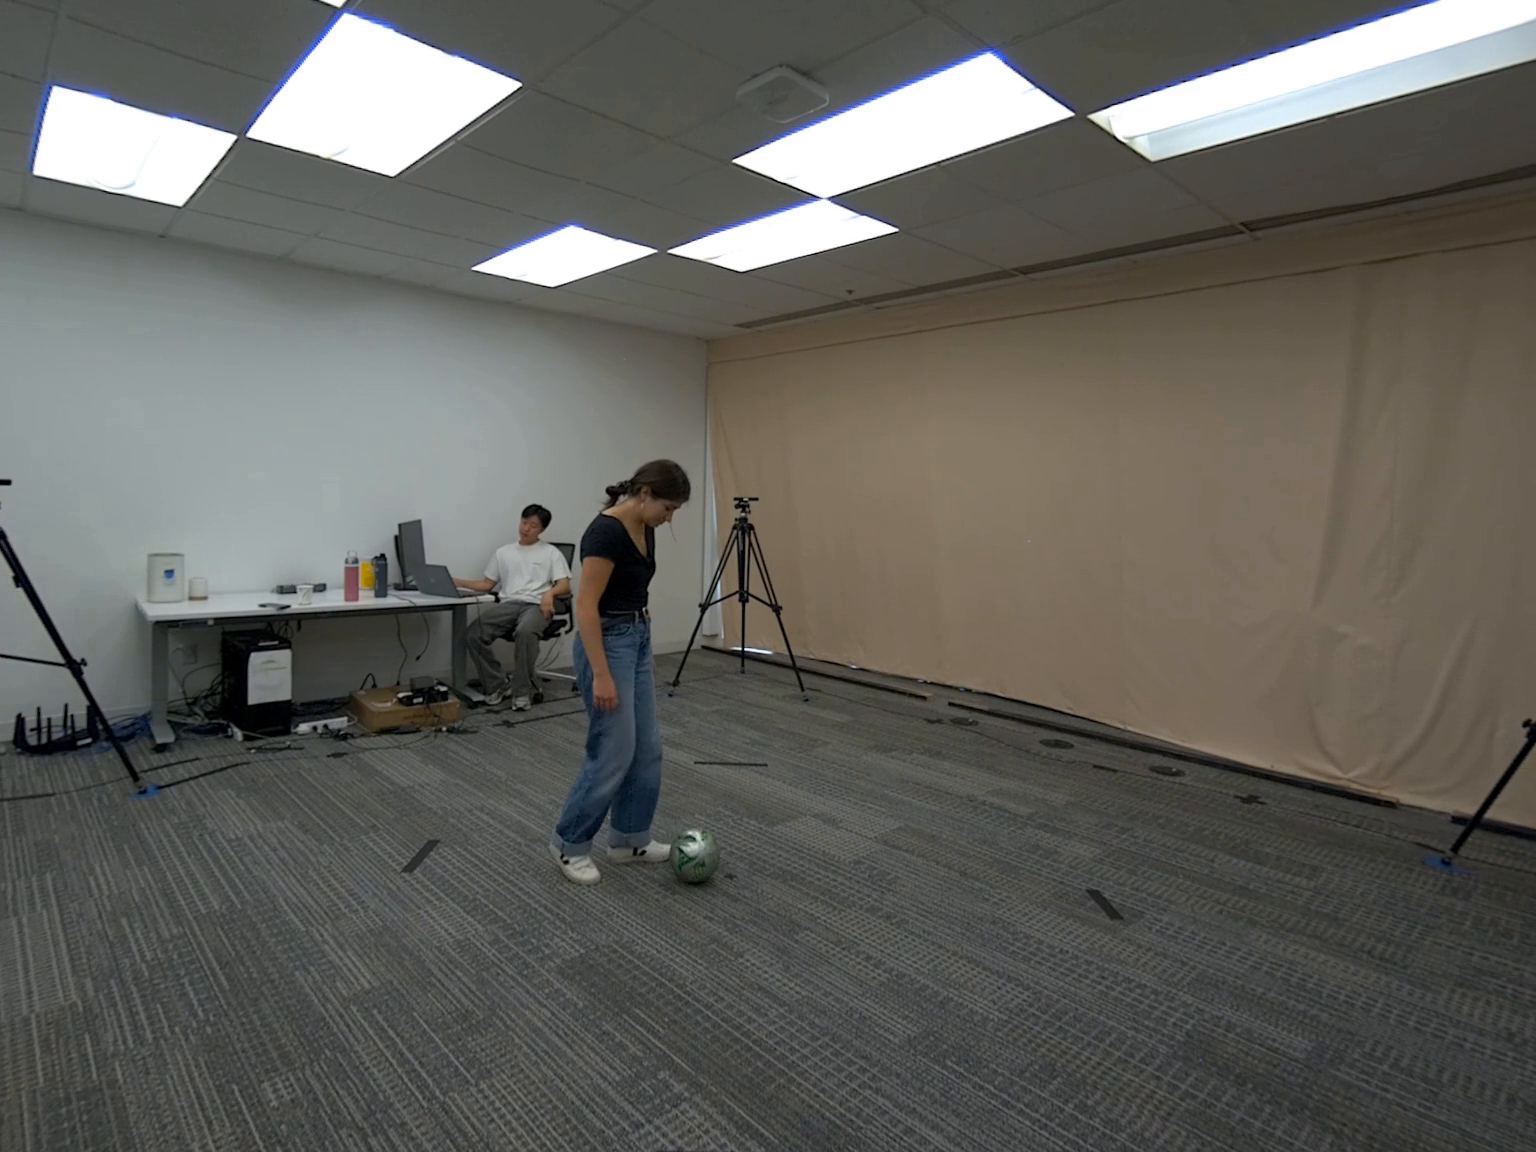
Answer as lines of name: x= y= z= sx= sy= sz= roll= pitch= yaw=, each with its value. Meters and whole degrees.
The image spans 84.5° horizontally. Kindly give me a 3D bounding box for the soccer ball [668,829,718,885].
soccer ball: x=-0.273 y=1.019 z=3.044 sx=0.187 sy=0.187 sz=0.188 roll=1 pitch=4 yaw=-1
